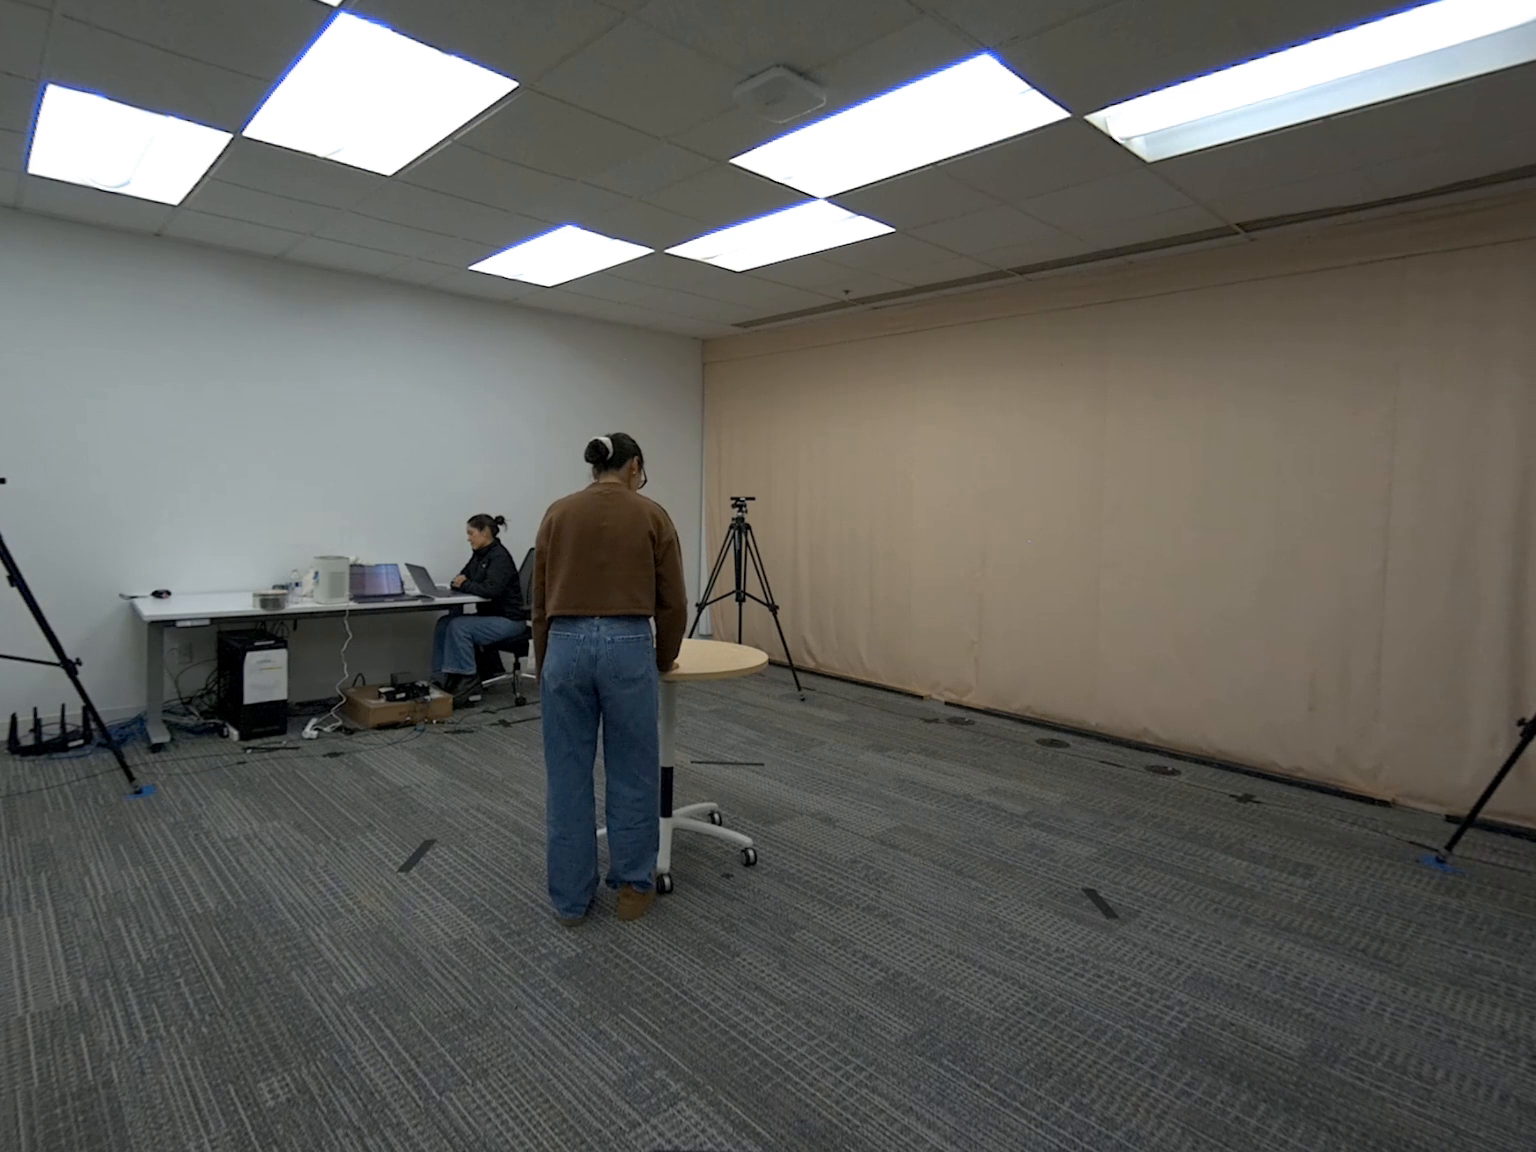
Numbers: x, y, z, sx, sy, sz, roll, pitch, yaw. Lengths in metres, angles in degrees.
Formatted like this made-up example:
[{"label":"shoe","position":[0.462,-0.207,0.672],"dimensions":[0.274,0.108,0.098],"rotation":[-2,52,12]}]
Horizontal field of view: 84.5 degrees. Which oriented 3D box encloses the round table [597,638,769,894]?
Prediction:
[{"label":"round table","position":[-0.400,0.697,3.293],"dimensions":[0.763,0.792,0.766],"rotation":[1,4,-1]}]
